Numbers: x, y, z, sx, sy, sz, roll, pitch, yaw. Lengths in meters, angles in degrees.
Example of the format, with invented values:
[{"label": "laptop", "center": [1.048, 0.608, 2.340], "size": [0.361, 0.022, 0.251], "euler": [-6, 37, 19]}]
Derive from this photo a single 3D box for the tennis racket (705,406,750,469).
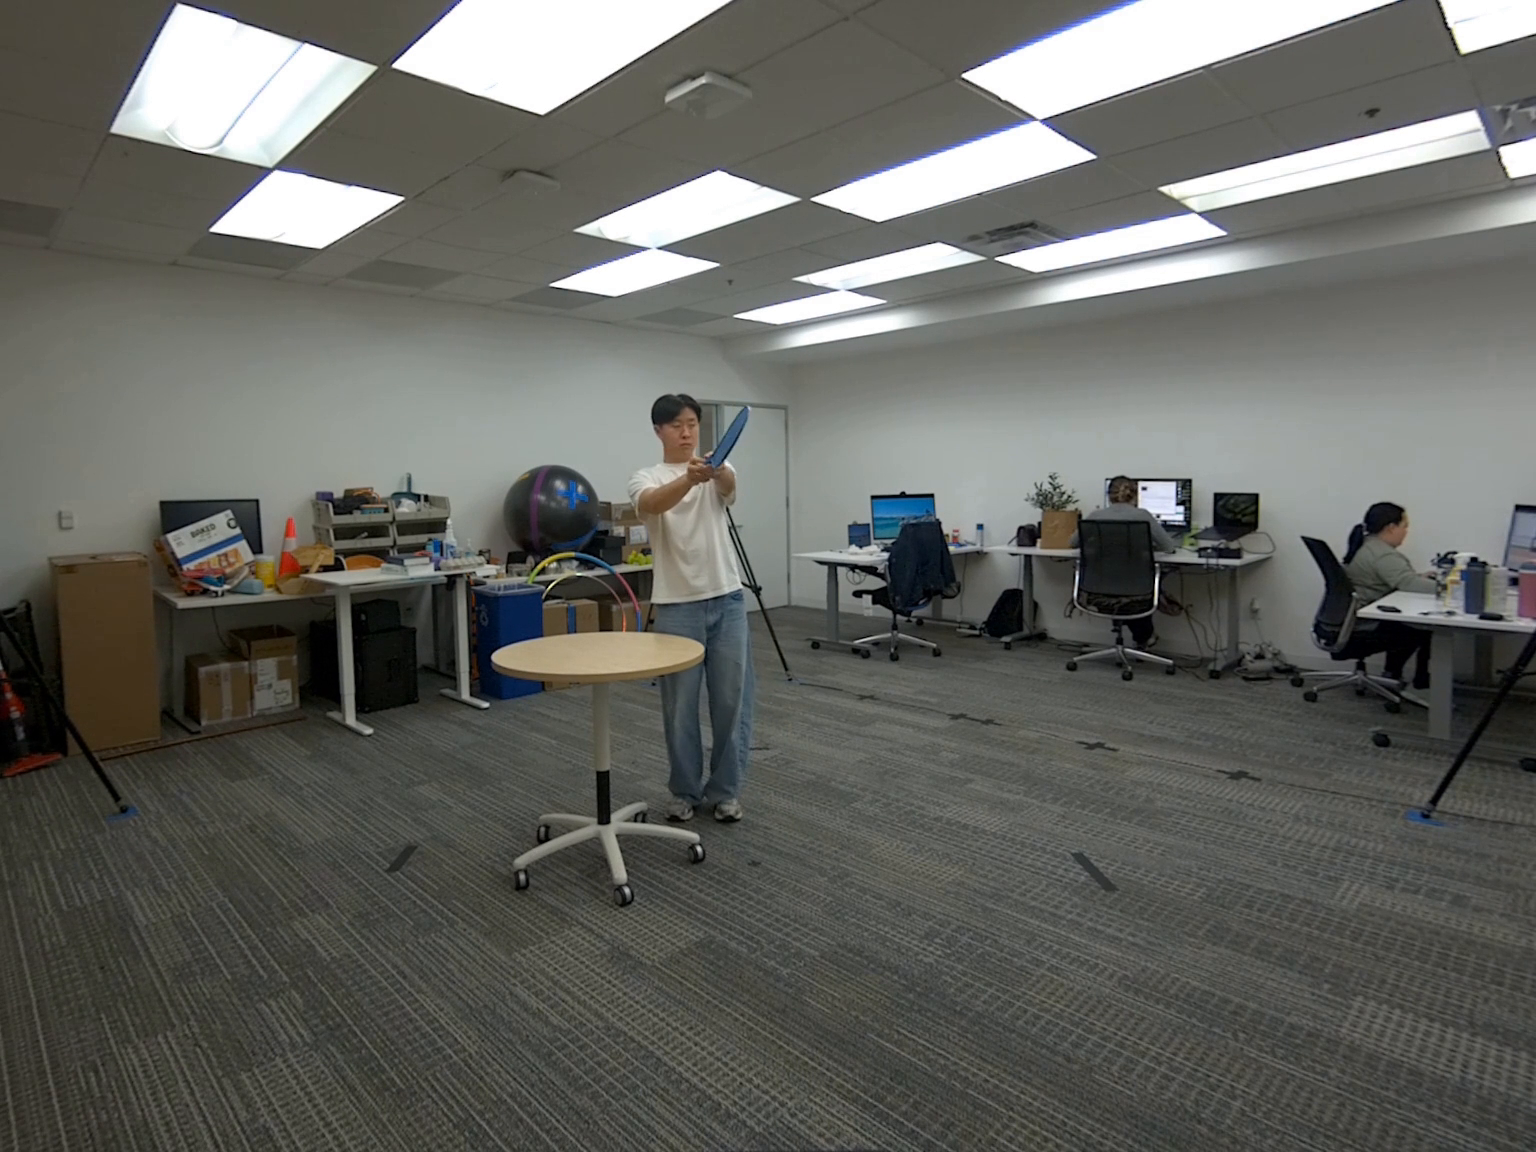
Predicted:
[{"label": "tennis racket", "center": [-0.138, -0.433, 2.850], "size": [0.031, 0.216, 0.435], "euler": [27, -27, -17]}]
